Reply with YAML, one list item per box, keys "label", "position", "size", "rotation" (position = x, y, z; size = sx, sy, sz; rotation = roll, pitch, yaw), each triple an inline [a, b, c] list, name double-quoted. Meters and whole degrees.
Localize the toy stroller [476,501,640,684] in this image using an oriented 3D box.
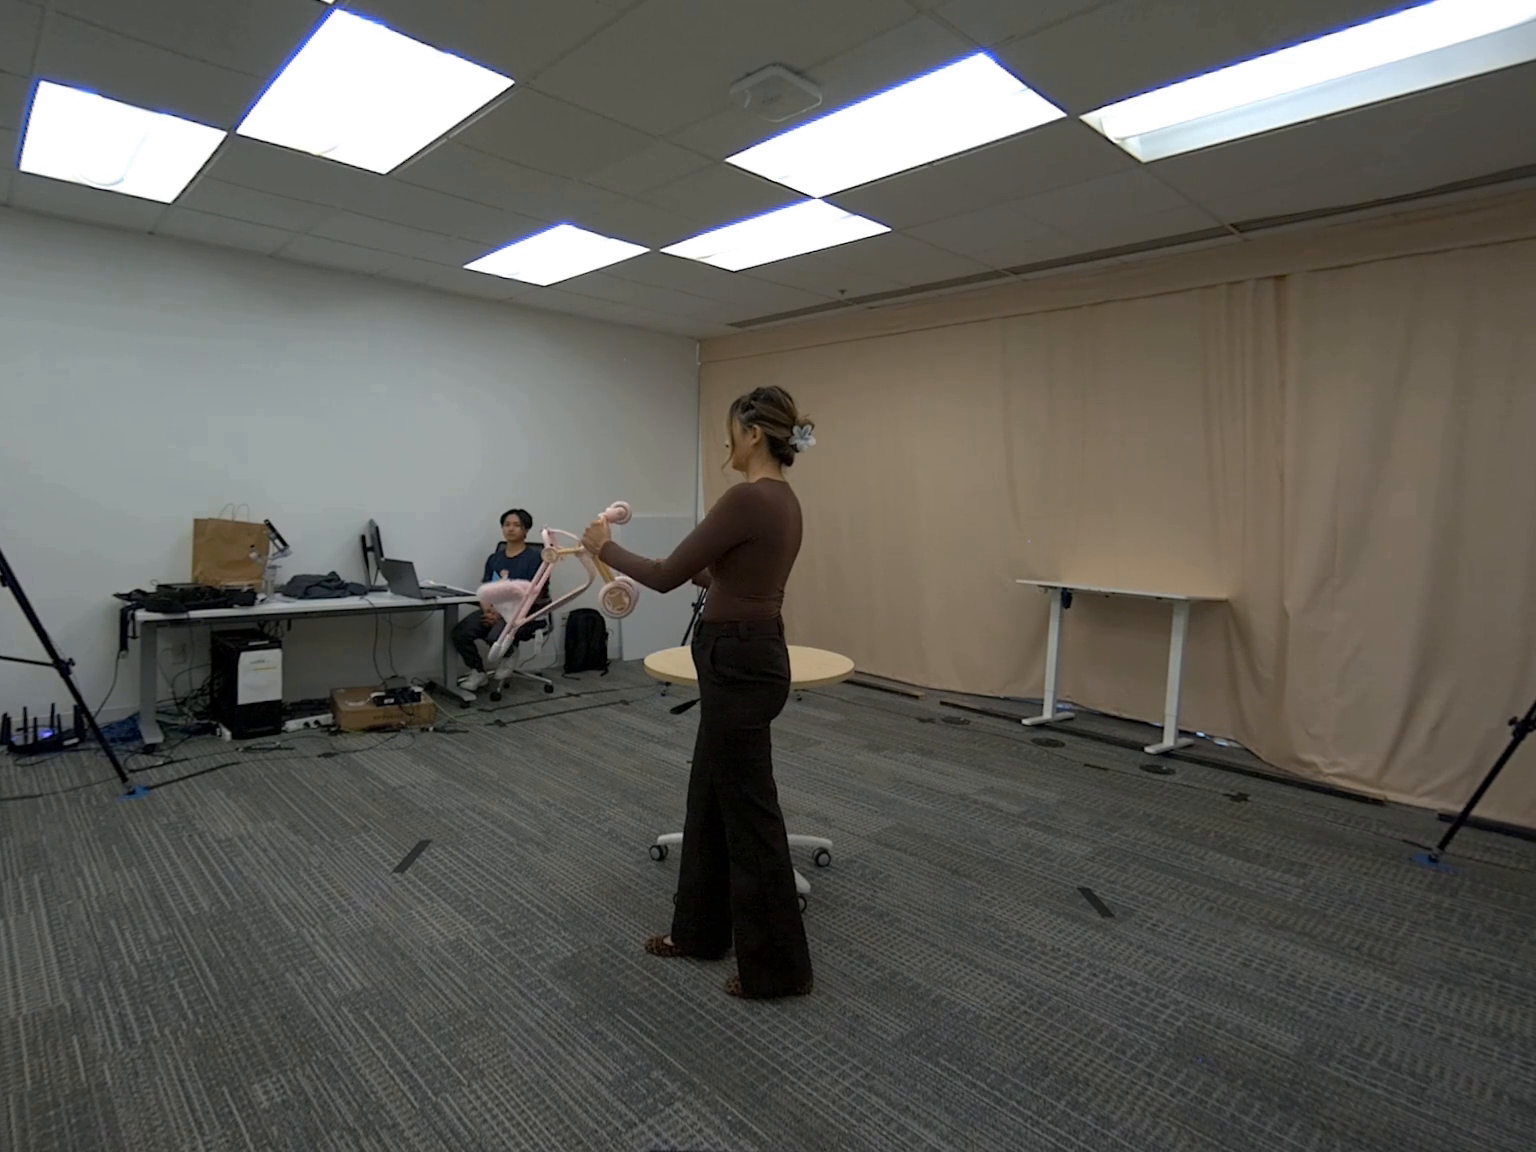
- label: "toy stroller"
  position: [-0.625, 0.014, 2.527]
  size: [0.534, 0.339, 0.284]
  rotation: [-19, 8, -3]
